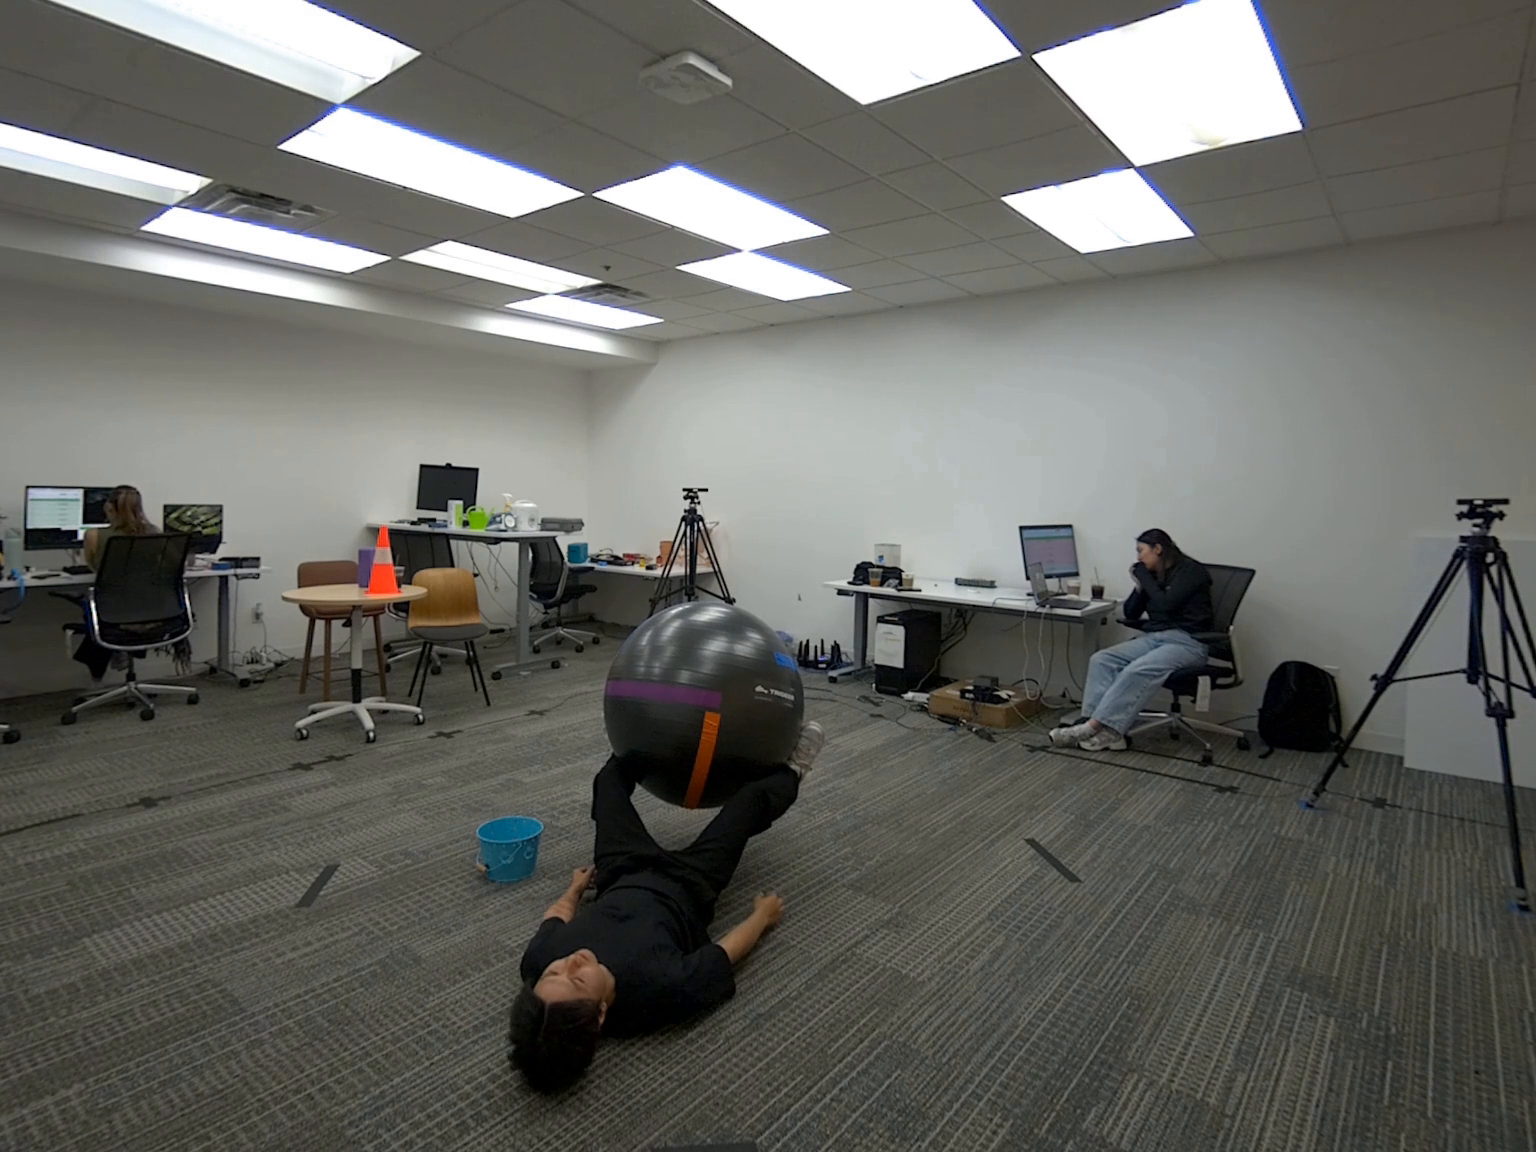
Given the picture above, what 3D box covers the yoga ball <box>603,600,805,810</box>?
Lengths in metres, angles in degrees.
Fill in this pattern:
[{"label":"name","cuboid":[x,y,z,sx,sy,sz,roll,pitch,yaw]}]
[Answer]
[{"label":"yoga ball","cuboid":[-0.250,0.476,3.209,0.757,0.755,0.762,1,4,-2]}]
